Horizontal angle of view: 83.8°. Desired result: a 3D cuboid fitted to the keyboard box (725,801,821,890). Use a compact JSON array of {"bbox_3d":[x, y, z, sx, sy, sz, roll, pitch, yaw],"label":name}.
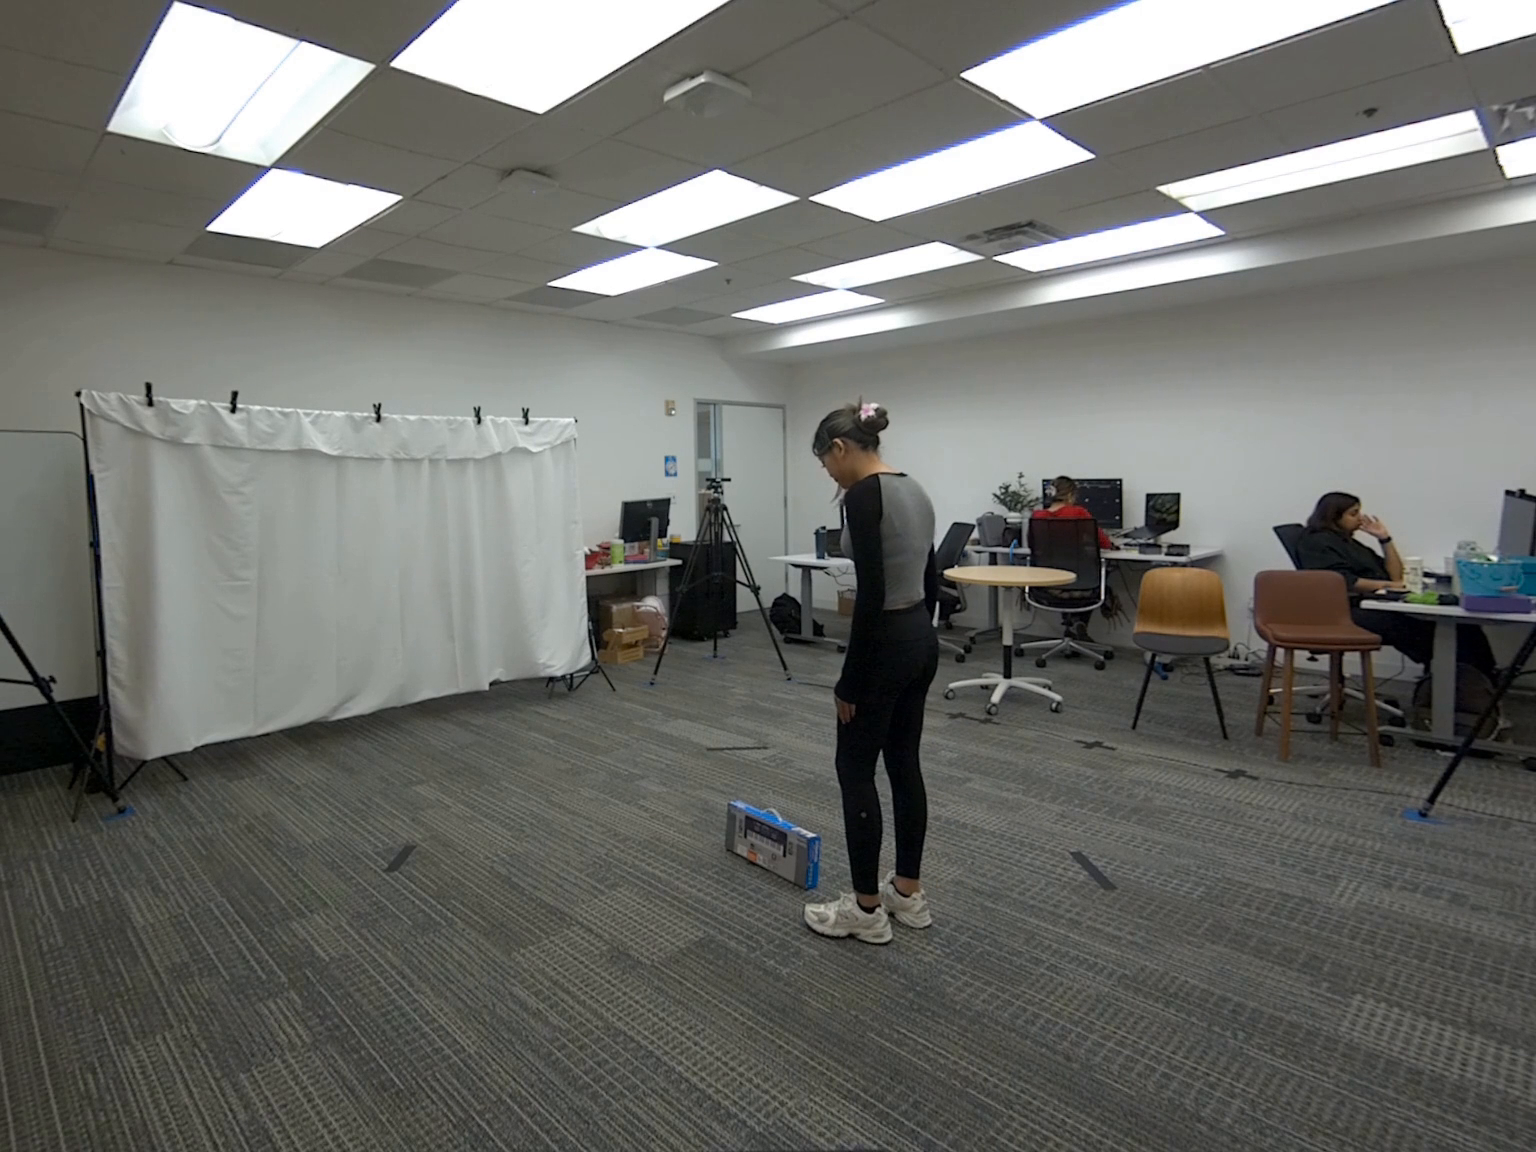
[{"bbox_3d":[0.010,0.959,3.070,0.057,0.176,0.450,4,1,-41],"label":"keyboard box"}]
